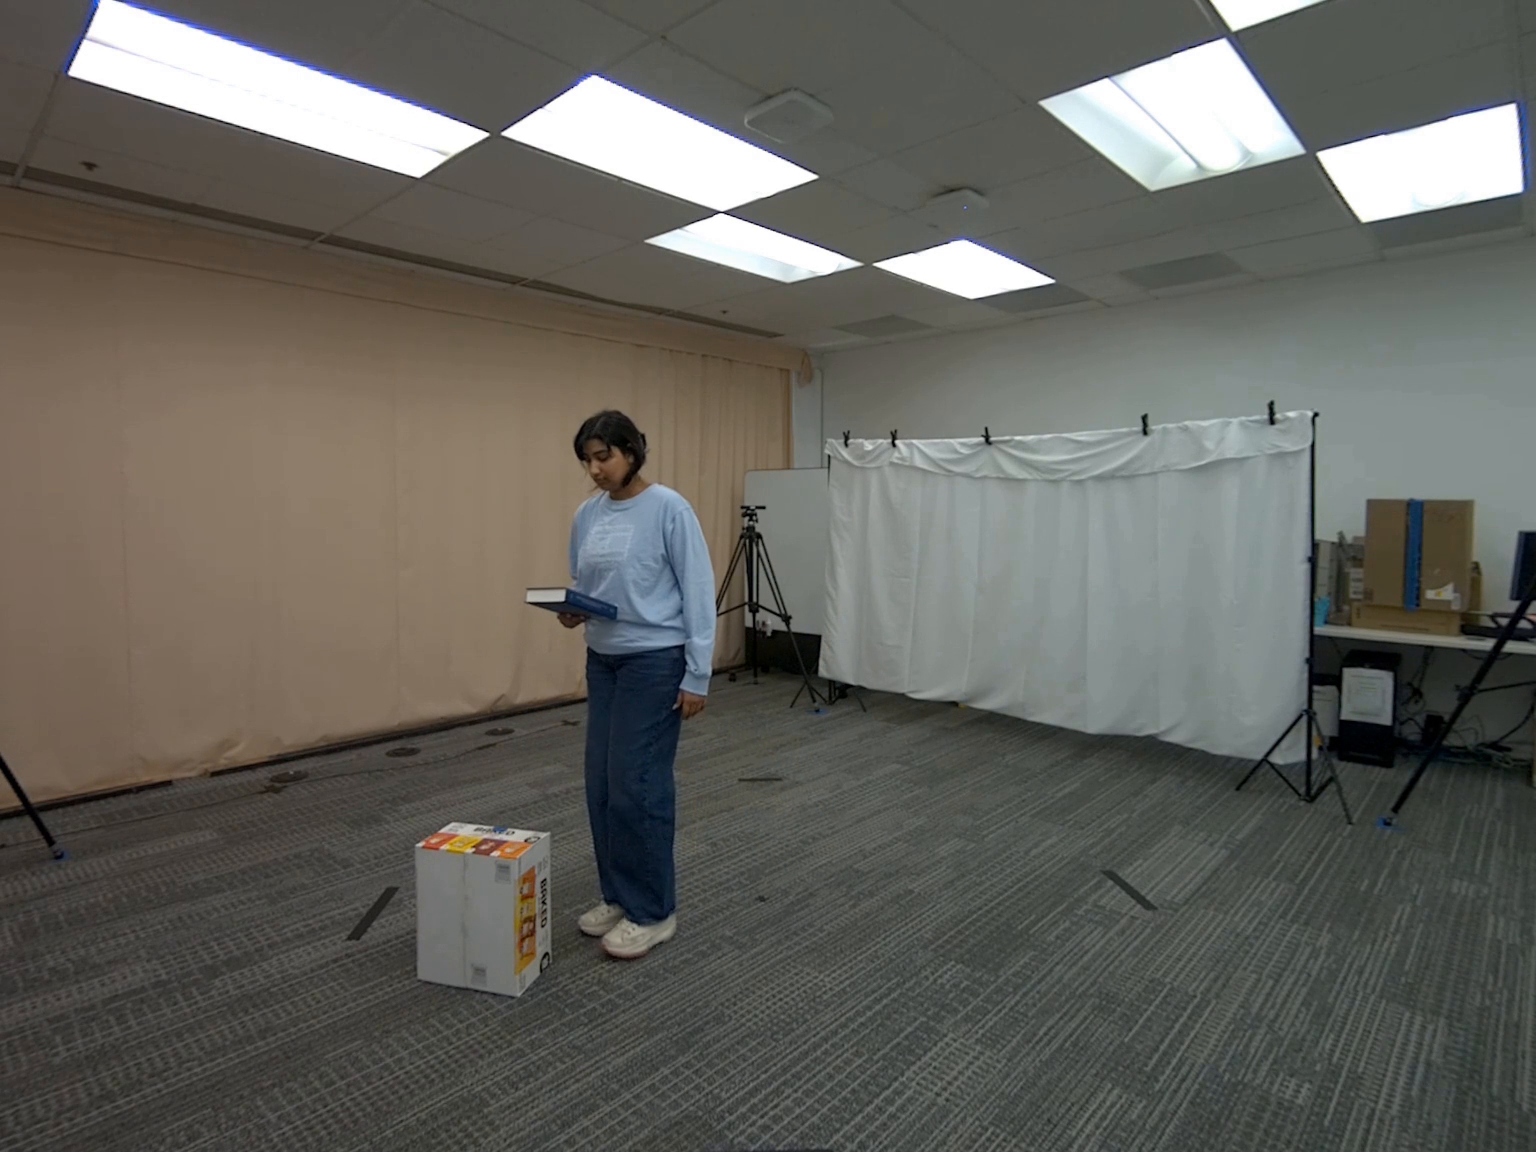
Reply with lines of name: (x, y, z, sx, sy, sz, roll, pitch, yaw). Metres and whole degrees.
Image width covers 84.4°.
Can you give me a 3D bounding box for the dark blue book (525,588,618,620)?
dark blue book: (-0.596, 0.086, 2.545, 0.168, 0.045, 0.236, 0, -14, 32)
